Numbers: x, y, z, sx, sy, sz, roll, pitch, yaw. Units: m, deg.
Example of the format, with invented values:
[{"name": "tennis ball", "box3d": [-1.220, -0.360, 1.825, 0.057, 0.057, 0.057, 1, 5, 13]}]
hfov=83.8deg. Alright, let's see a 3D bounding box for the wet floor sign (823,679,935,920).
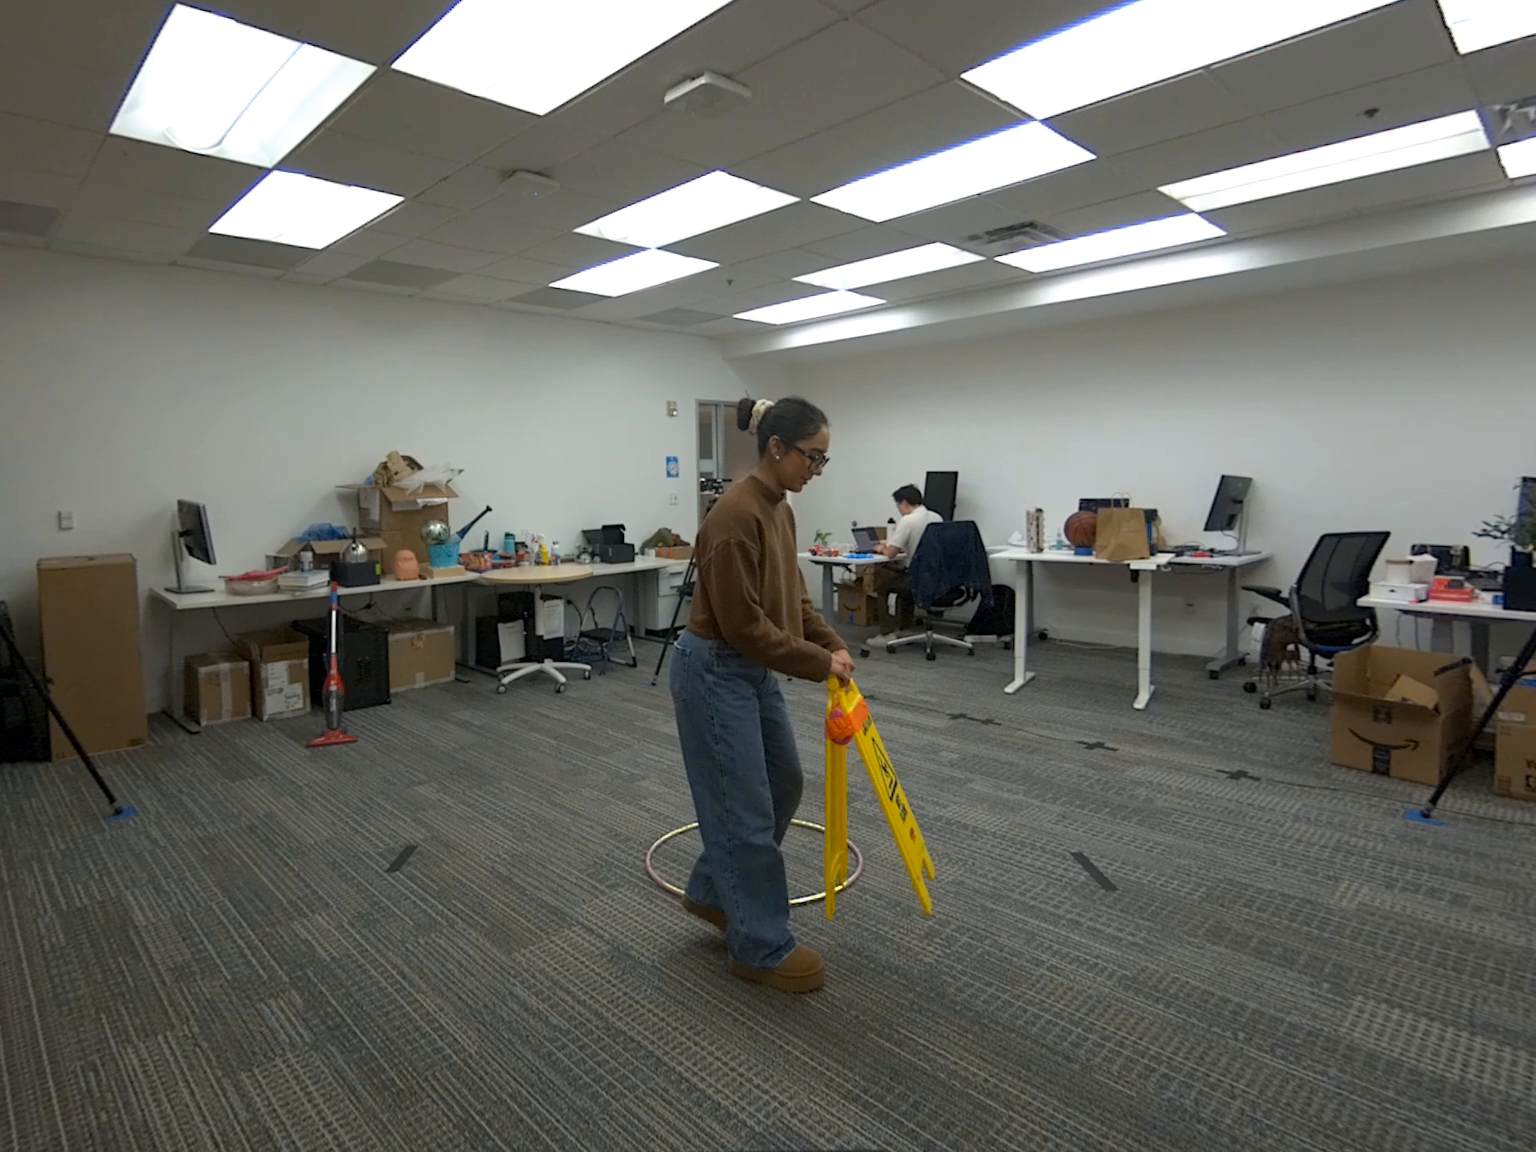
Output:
[{"name": "wet floor sign", "box3d": [0.254, 0.564, 2.358, 0.293, 0.645, 0.279, -11, 2, 16]}]
